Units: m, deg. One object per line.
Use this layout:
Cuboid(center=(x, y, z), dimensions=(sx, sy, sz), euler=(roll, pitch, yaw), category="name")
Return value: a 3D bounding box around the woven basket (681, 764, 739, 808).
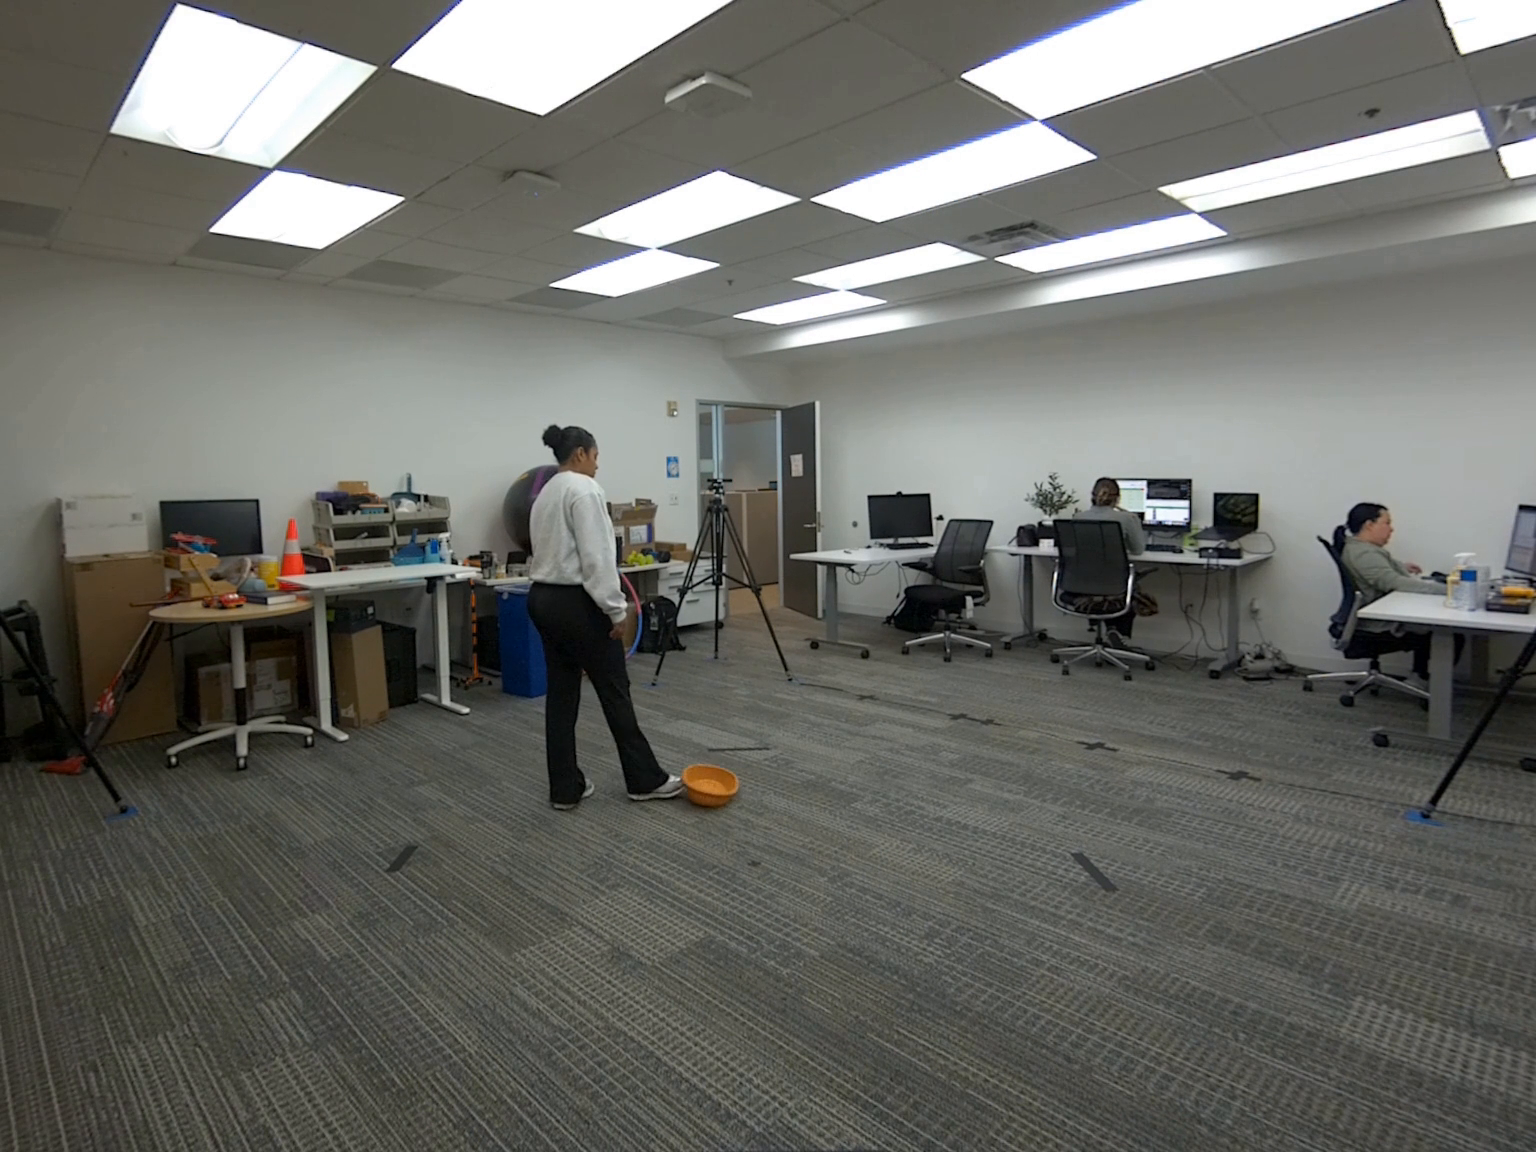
Cuboid(center=(-0.275, 0.925, 3.757), dimensions=(0.252, 0.073, 0.352), euler=(8, 6, -3), category="woven basket")
